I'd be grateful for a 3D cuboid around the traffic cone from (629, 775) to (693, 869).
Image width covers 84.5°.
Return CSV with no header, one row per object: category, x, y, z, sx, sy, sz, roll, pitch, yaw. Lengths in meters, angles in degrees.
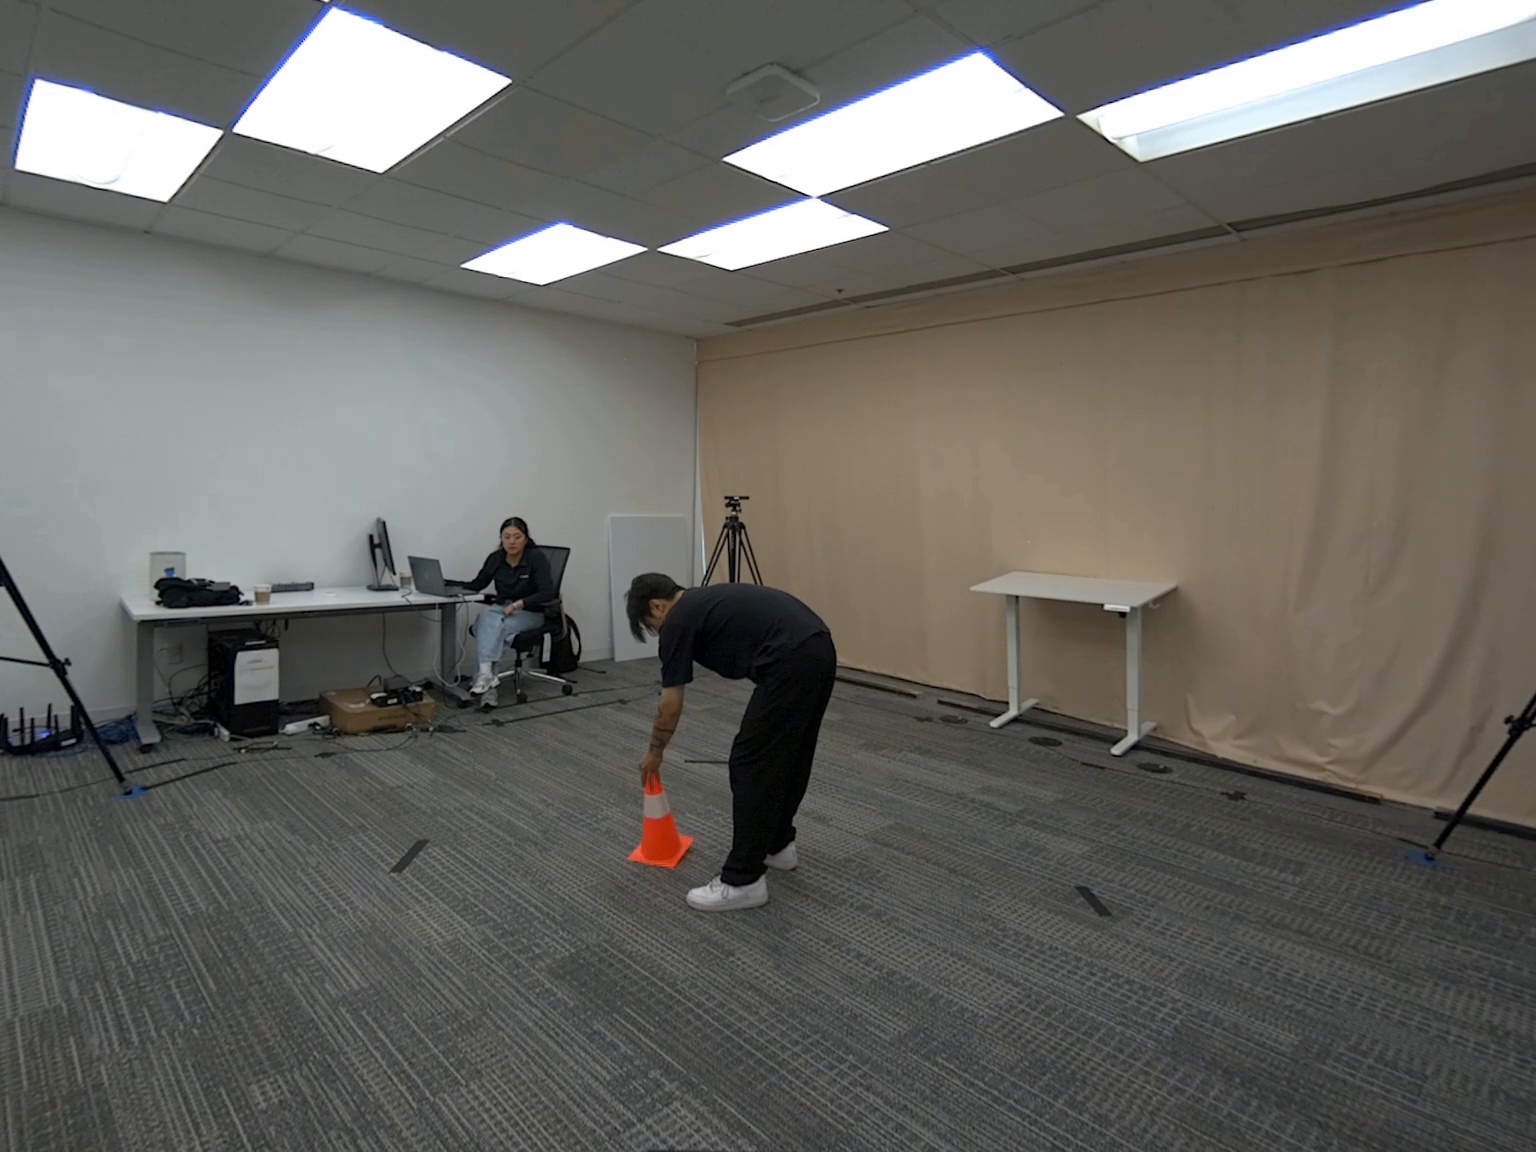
traffic cone,-0.433,0.883,3.234,0.207,0.379,0.204,2,16,22
